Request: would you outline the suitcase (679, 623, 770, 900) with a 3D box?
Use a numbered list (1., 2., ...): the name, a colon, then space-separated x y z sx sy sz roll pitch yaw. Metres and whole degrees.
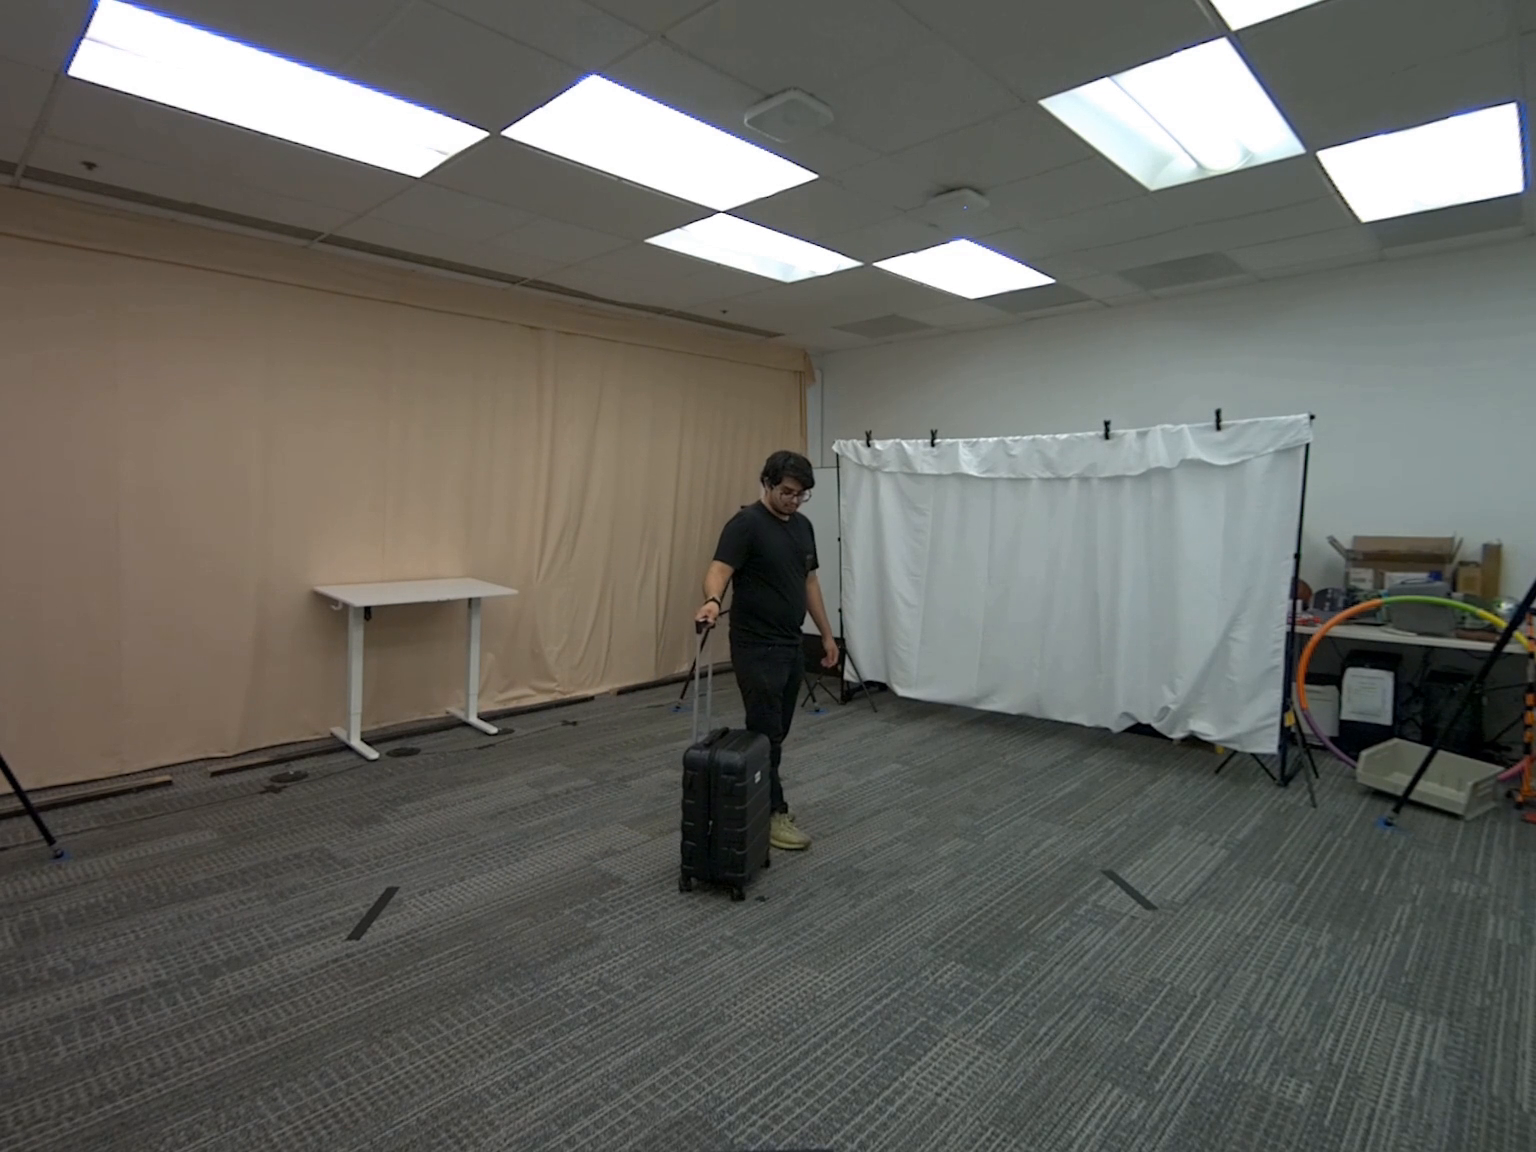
1. suitcase: -0.140 0.661 3.099 0.262 0.976 0.377 4 5 17
